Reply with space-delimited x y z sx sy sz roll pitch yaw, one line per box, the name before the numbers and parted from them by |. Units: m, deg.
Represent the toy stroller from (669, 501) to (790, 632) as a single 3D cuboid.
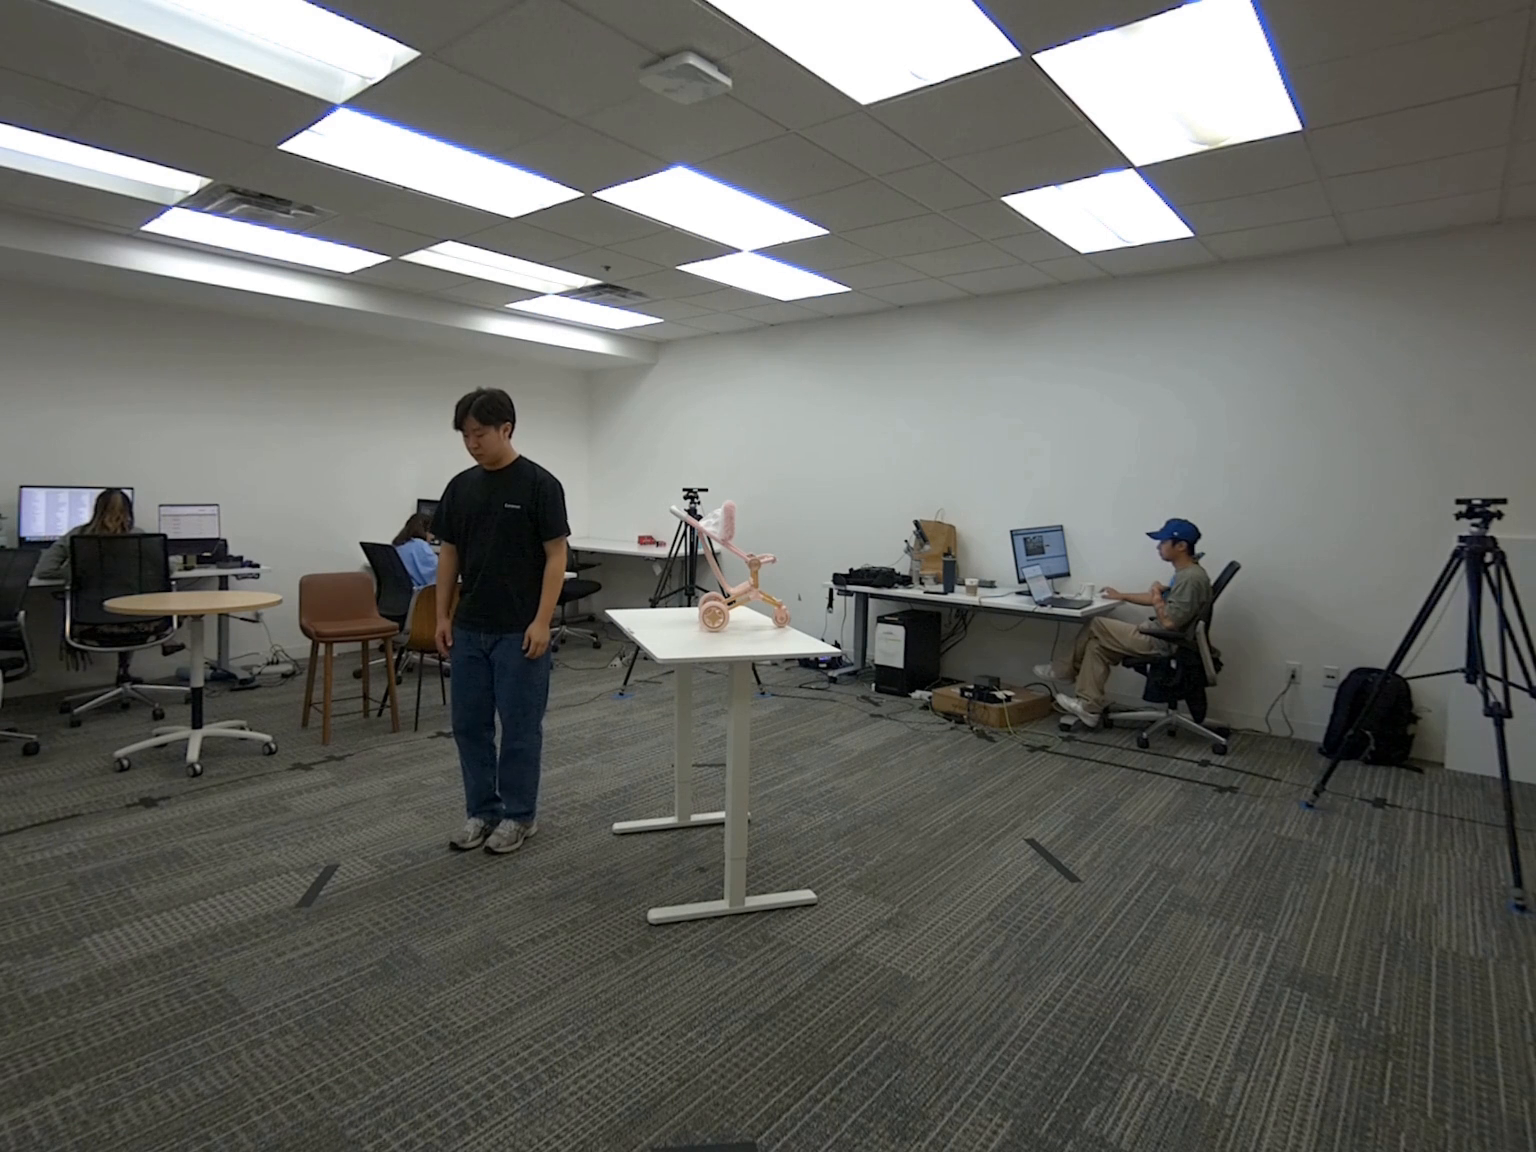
toy stroller | -0.138 -0.038 3.122 0.343 0.533 0.281 -14 3 4
